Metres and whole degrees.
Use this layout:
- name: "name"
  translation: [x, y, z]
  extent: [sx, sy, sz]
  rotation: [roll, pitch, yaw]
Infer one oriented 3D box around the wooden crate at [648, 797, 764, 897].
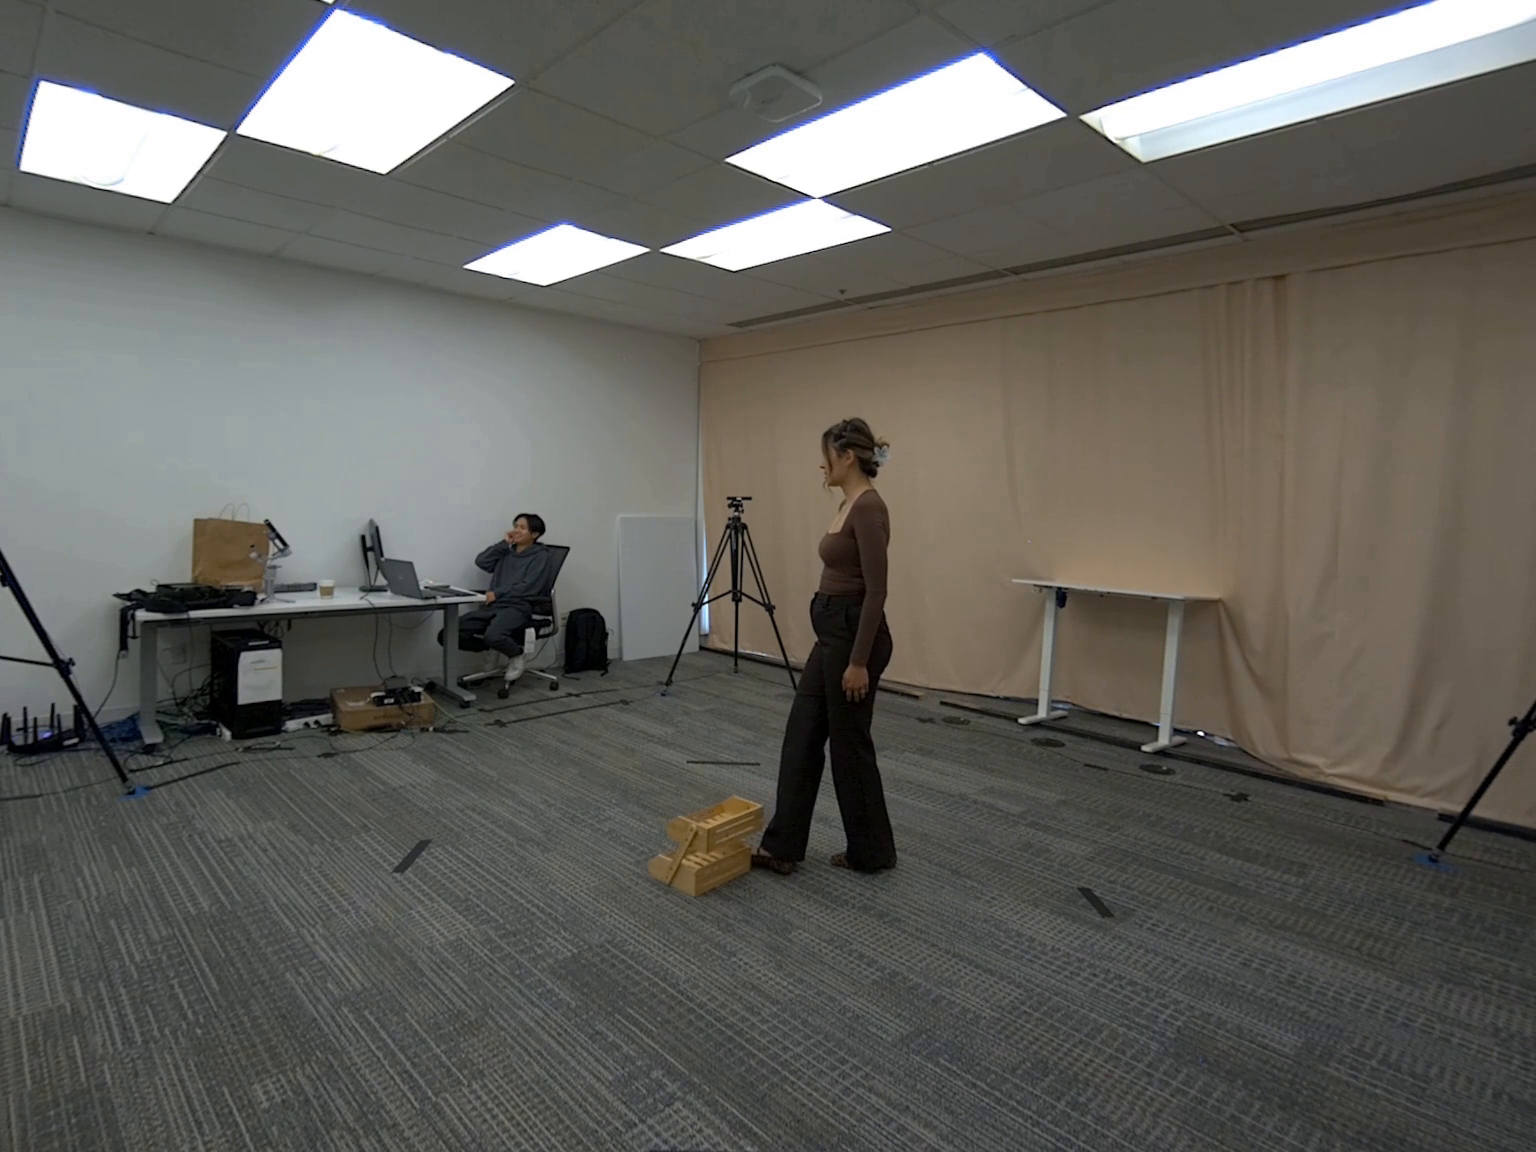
- name: "wooden crate"
  translation: [-0.242, 0.972, 3.101]
  extent: [0.310, 0.272, 0.317]
  rotation: [6, 6, 40]
